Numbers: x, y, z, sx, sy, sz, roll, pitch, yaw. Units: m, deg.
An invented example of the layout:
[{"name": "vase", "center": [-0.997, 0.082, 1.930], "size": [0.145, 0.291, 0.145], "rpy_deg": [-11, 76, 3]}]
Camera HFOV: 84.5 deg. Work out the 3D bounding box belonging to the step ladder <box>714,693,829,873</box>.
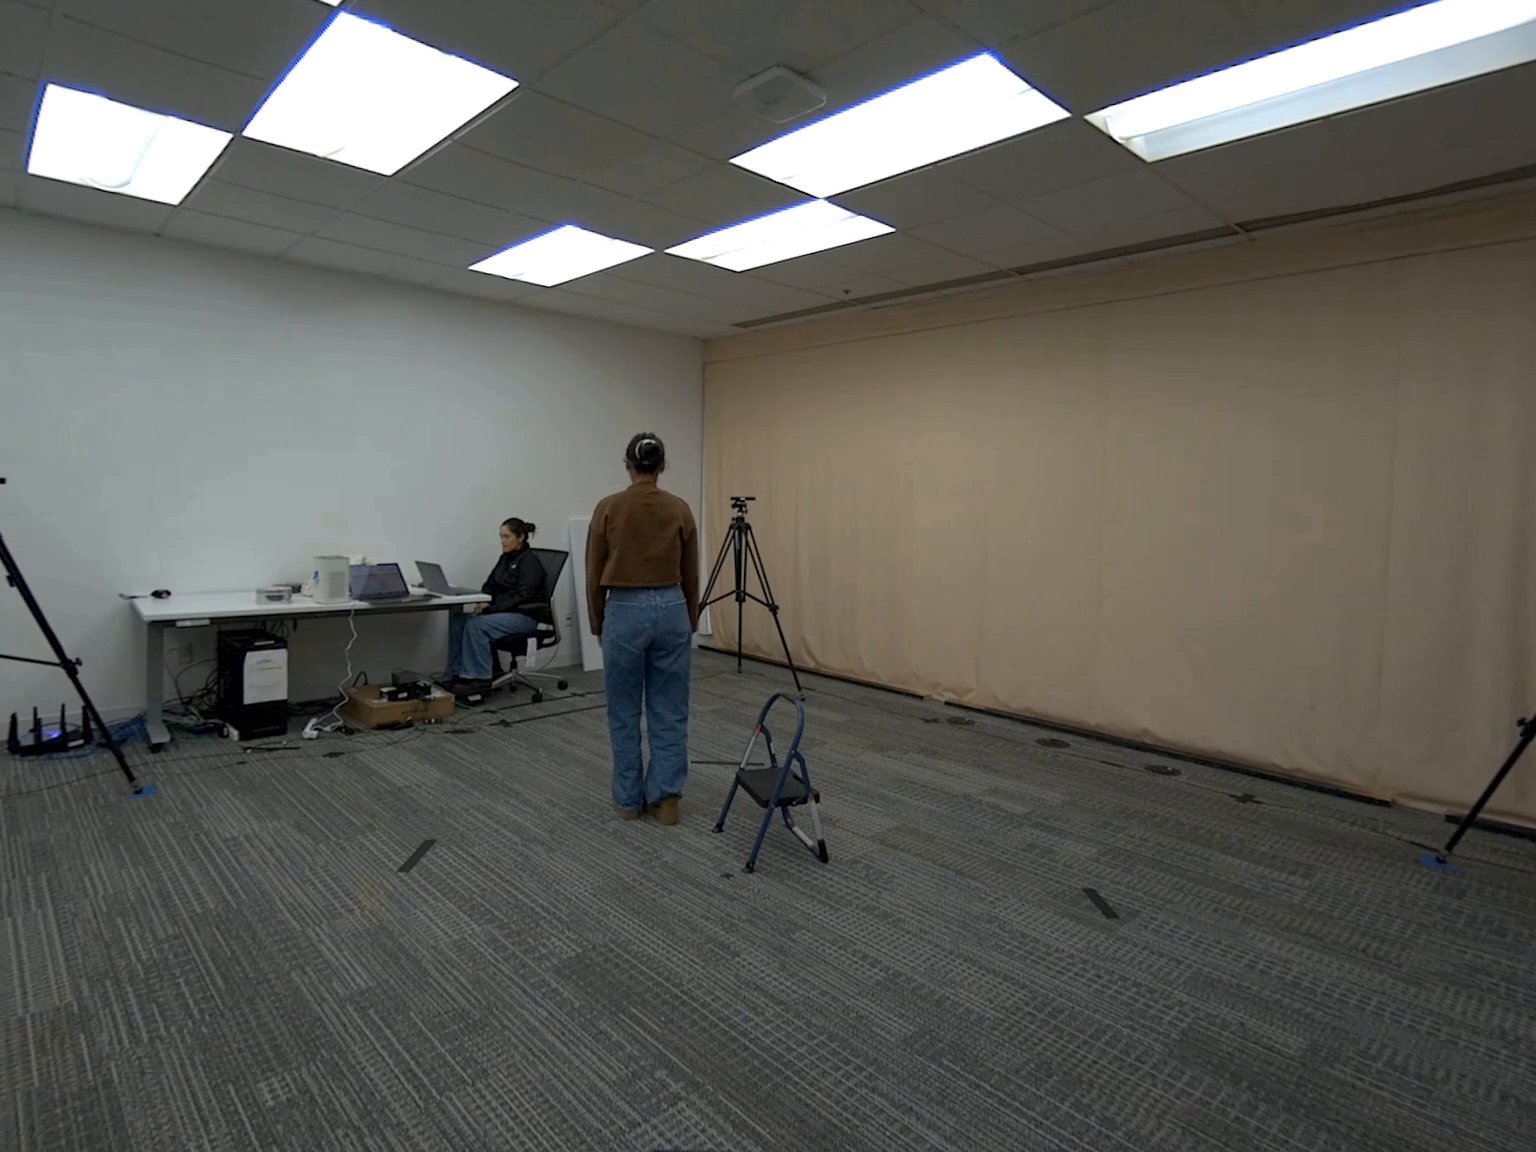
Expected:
[{"name": "step ladder", "center": [0.003, 0.785, 3.364], "size": [0.344, 0.604, 0.438], "rpy_deg": [0, 4, -20]}]
